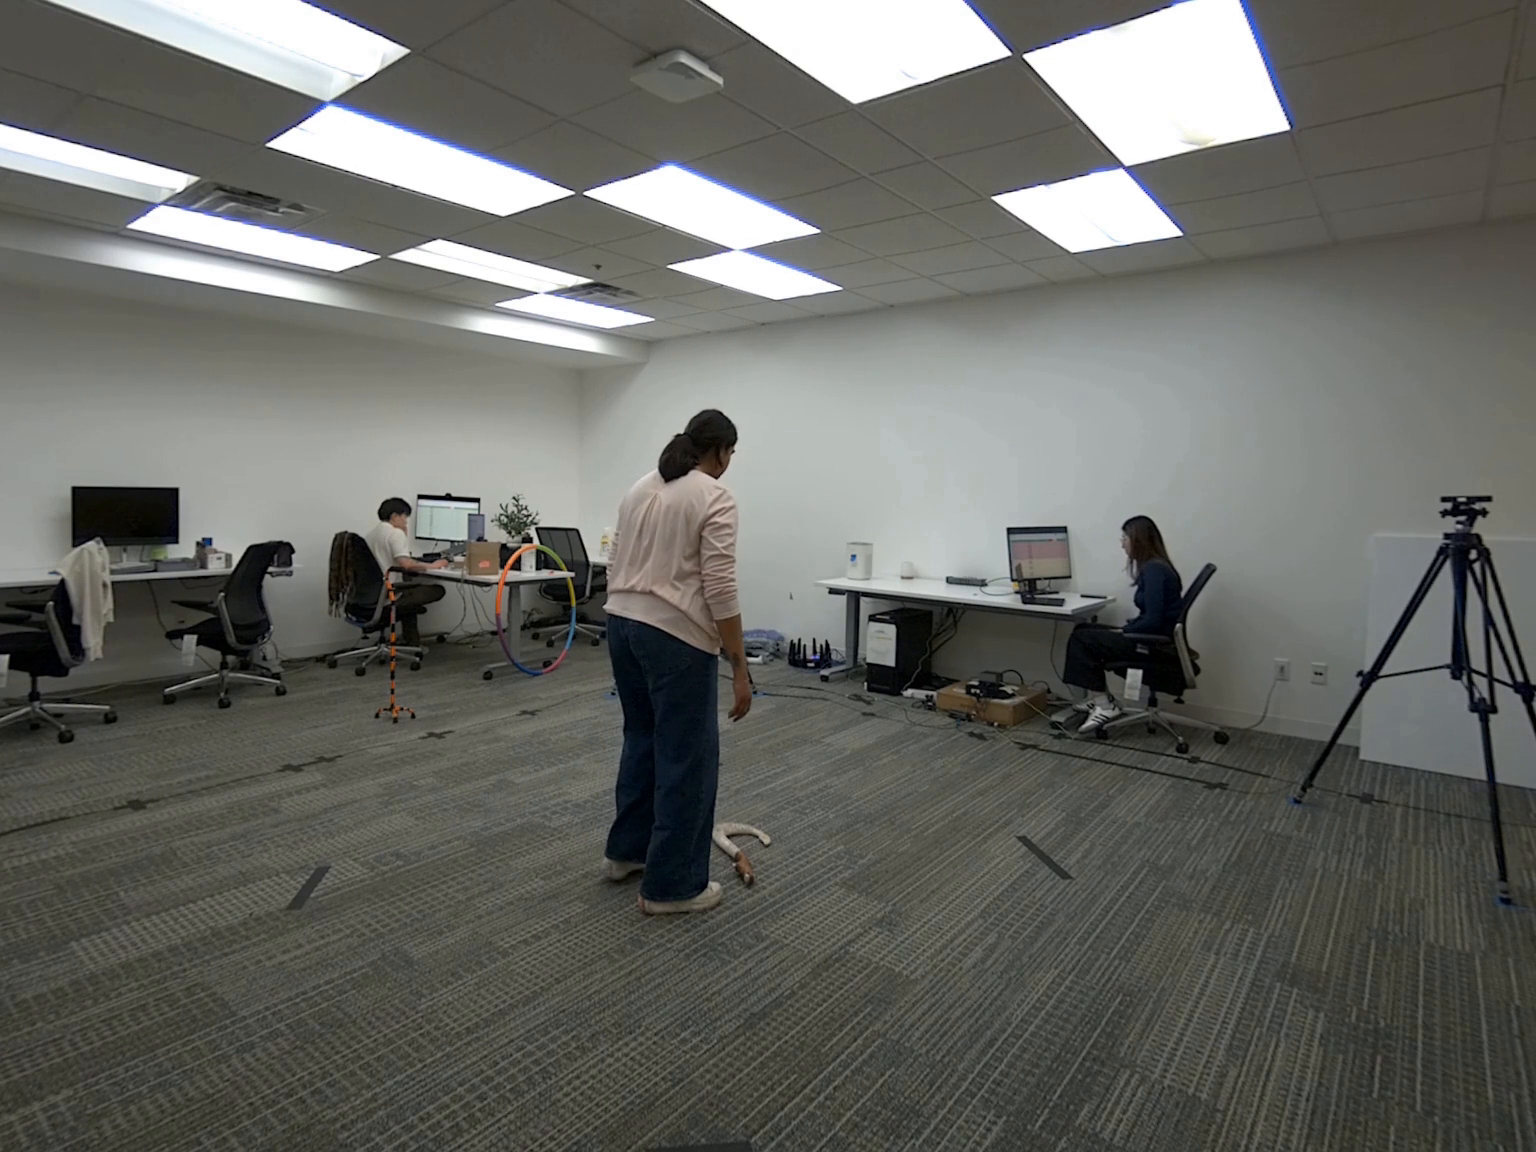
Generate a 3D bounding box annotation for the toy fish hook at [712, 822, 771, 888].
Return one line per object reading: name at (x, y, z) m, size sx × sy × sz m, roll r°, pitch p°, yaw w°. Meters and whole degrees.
toy fish hook at (-0.084, 1.031, 3.217) m, size 0.222 × 0.048 × 0.516 m, roll -1°, pitch 6°, yaw -14°
